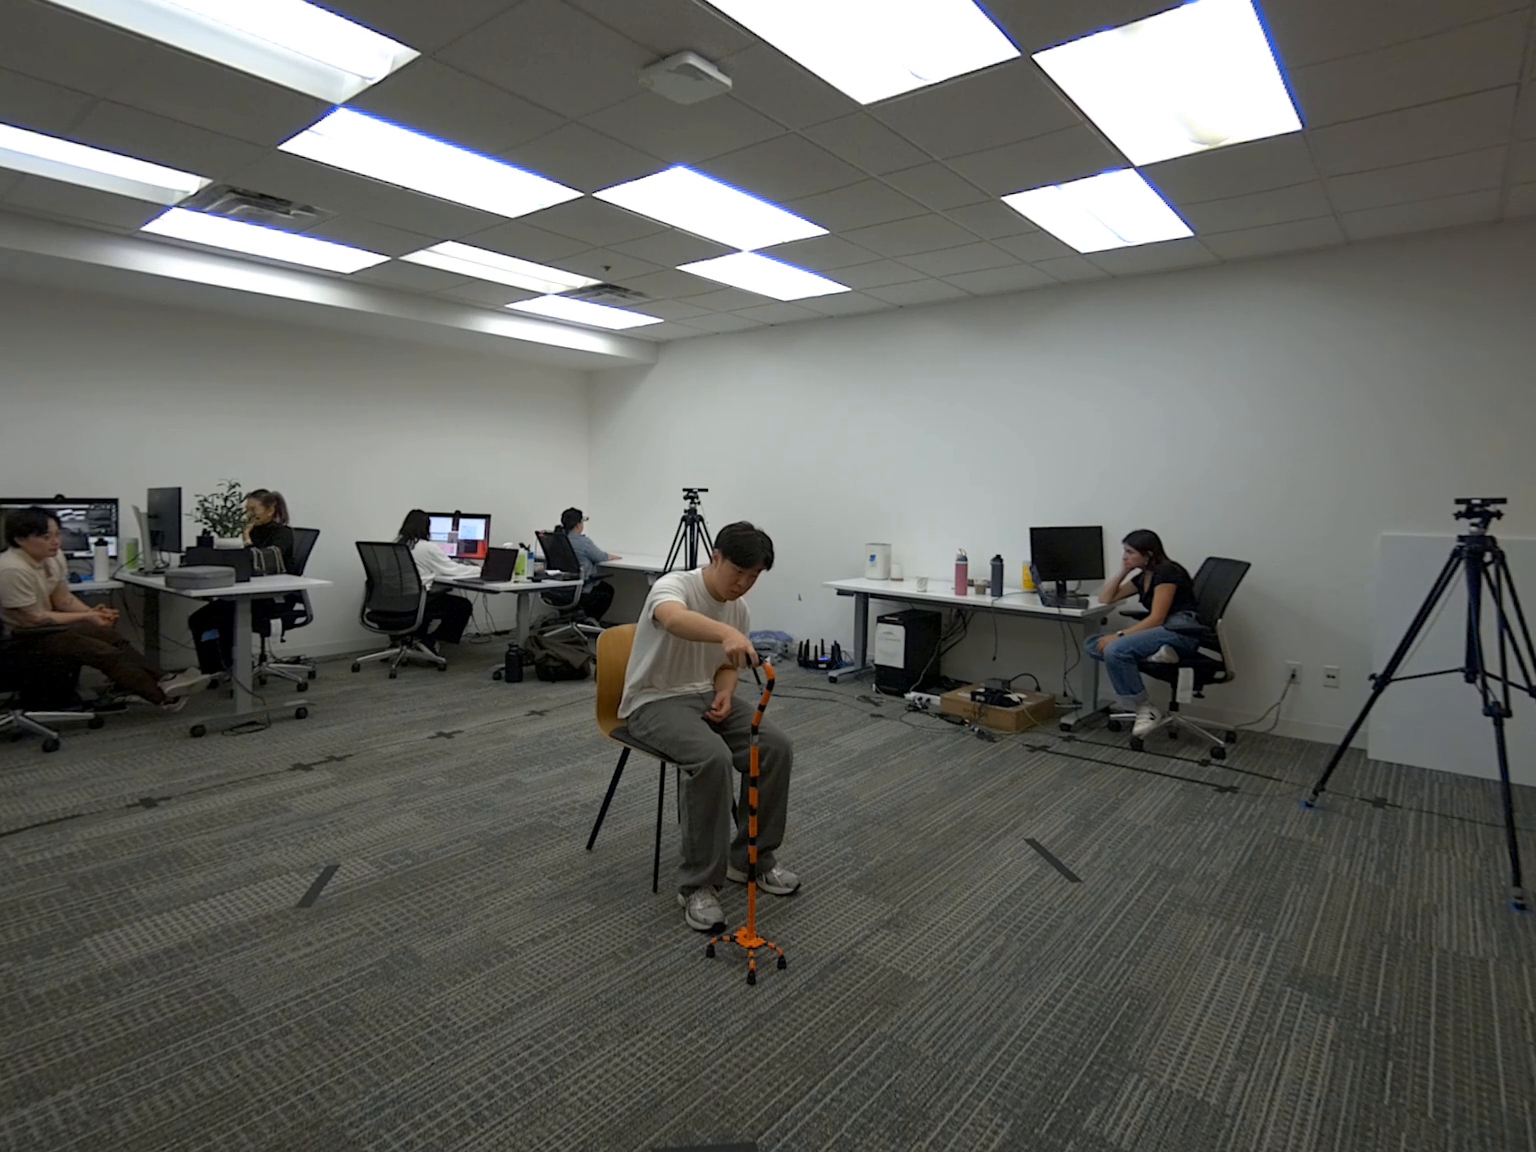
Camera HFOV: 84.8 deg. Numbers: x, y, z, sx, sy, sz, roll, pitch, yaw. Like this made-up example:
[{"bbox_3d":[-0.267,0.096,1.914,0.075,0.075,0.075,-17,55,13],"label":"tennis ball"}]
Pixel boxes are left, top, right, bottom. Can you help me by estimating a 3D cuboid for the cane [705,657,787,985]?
[{"bbox_3d":[-0.054,0.673,2.479,0.147,0.905,0.213,-1,5,-45],"label":"cane"}]
